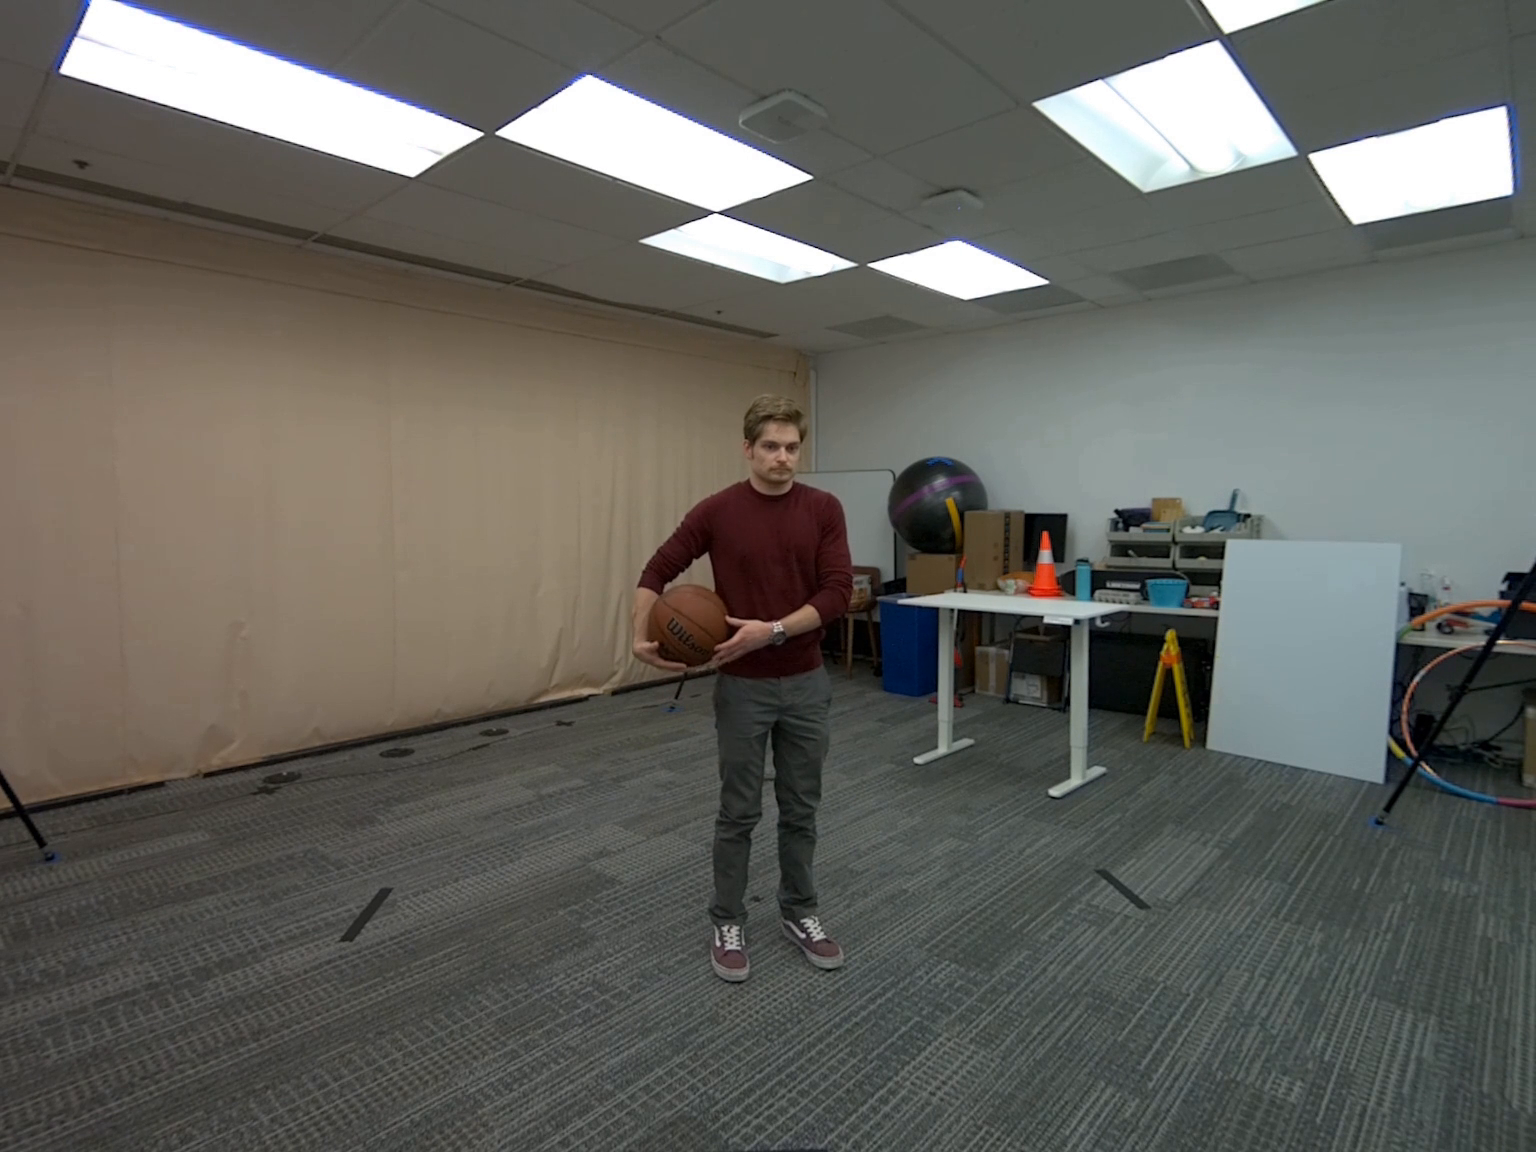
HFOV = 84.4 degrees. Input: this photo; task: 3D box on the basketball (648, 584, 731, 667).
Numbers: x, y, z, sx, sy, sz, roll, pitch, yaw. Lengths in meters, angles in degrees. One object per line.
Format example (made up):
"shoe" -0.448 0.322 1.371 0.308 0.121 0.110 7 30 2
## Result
"basketball" -0.214 0.143 2.437 0.236 0.235 0.237 0 4 -2
